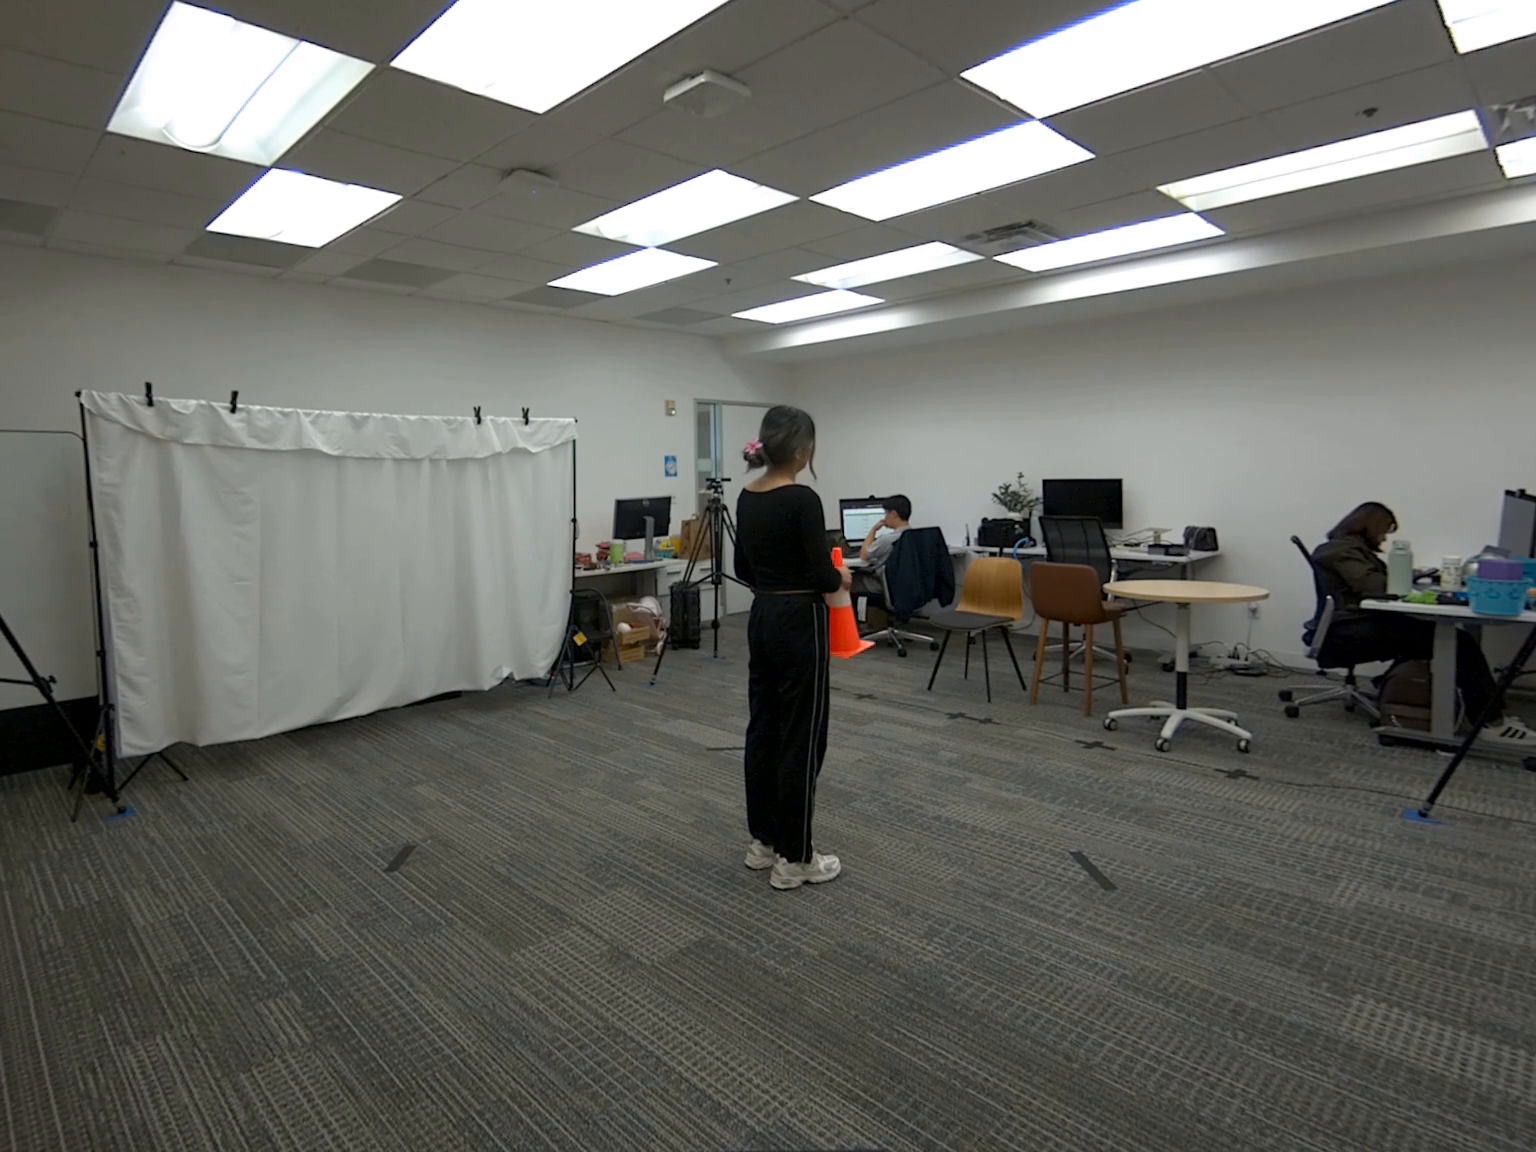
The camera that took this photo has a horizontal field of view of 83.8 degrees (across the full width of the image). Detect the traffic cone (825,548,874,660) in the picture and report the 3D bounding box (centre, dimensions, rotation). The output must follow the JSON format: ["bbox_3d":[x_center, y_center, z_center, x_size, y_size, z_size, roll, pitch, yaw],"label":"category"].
[{"bbox_3d":[0.265,0.088,3.218,0.211,0.379,0.199,8,16,40],"label":"traffic cone"}]
